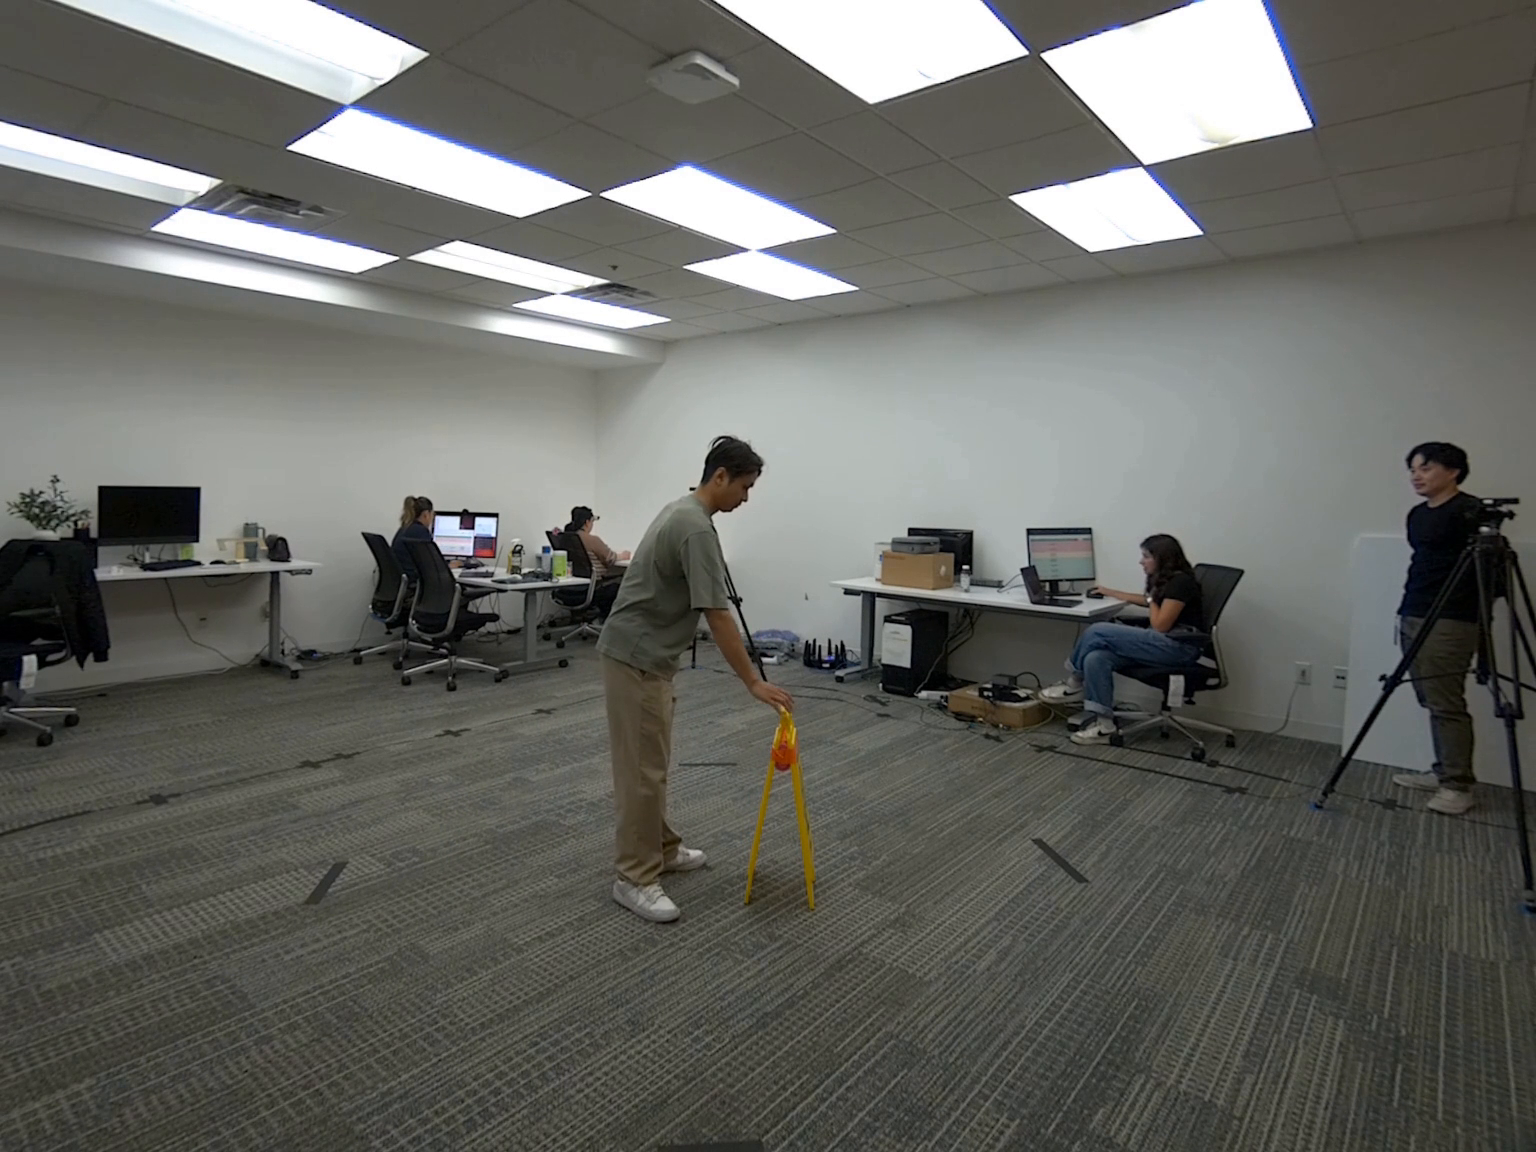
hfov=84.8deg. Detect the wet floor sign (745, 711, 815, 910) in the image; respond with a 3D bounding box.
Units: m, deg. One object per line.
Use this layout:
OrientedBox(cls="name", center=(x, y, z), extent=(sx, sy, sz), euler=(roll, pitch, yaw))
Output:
OrientedBox(cls="wet floor sign", center=(0.048, 0.773, 2.952), extent=(0.292, 0.644, 0.281), euler=(3, 3, 5))
